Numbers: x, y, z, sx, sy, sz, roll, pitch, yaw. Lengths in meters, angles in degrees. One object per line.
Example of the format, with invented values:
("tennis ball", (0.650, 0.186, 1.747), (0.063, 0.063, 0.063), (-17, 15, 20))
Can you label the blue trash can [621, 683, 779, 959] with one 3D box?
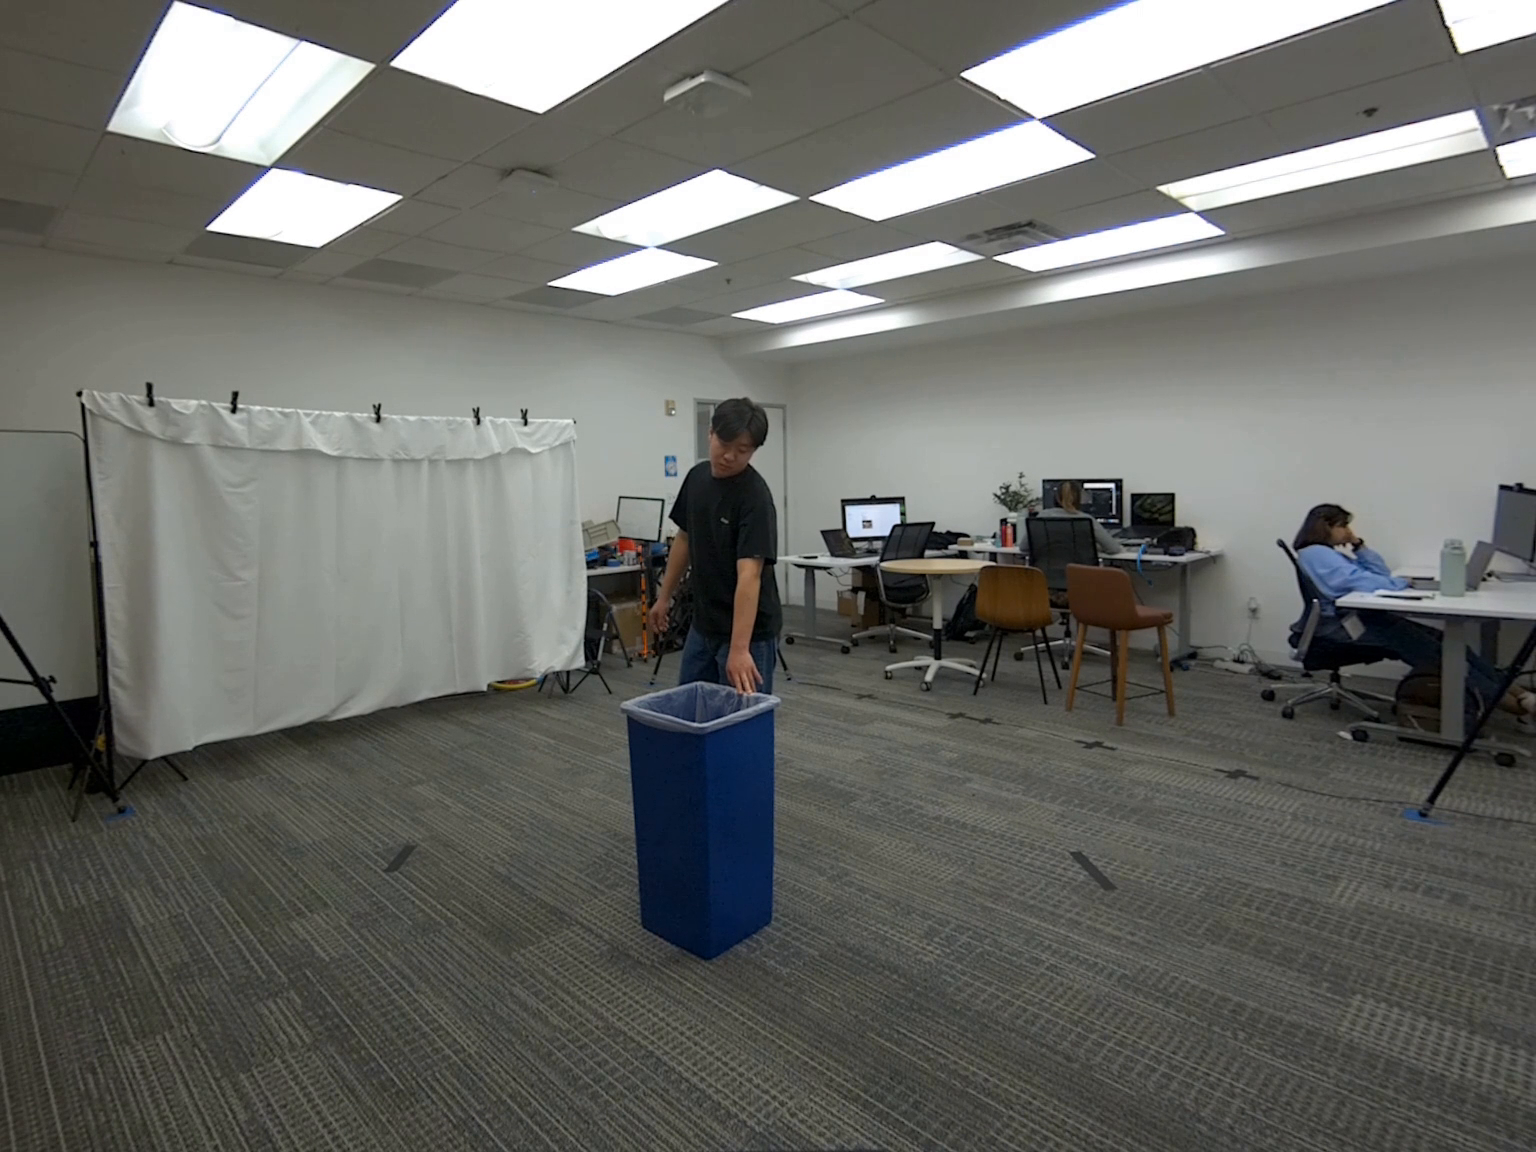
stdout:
("blue trash can", (-0.200, 0.743, 2.655), (0.389, 0.711, 0.364), (2, 5, 40))
